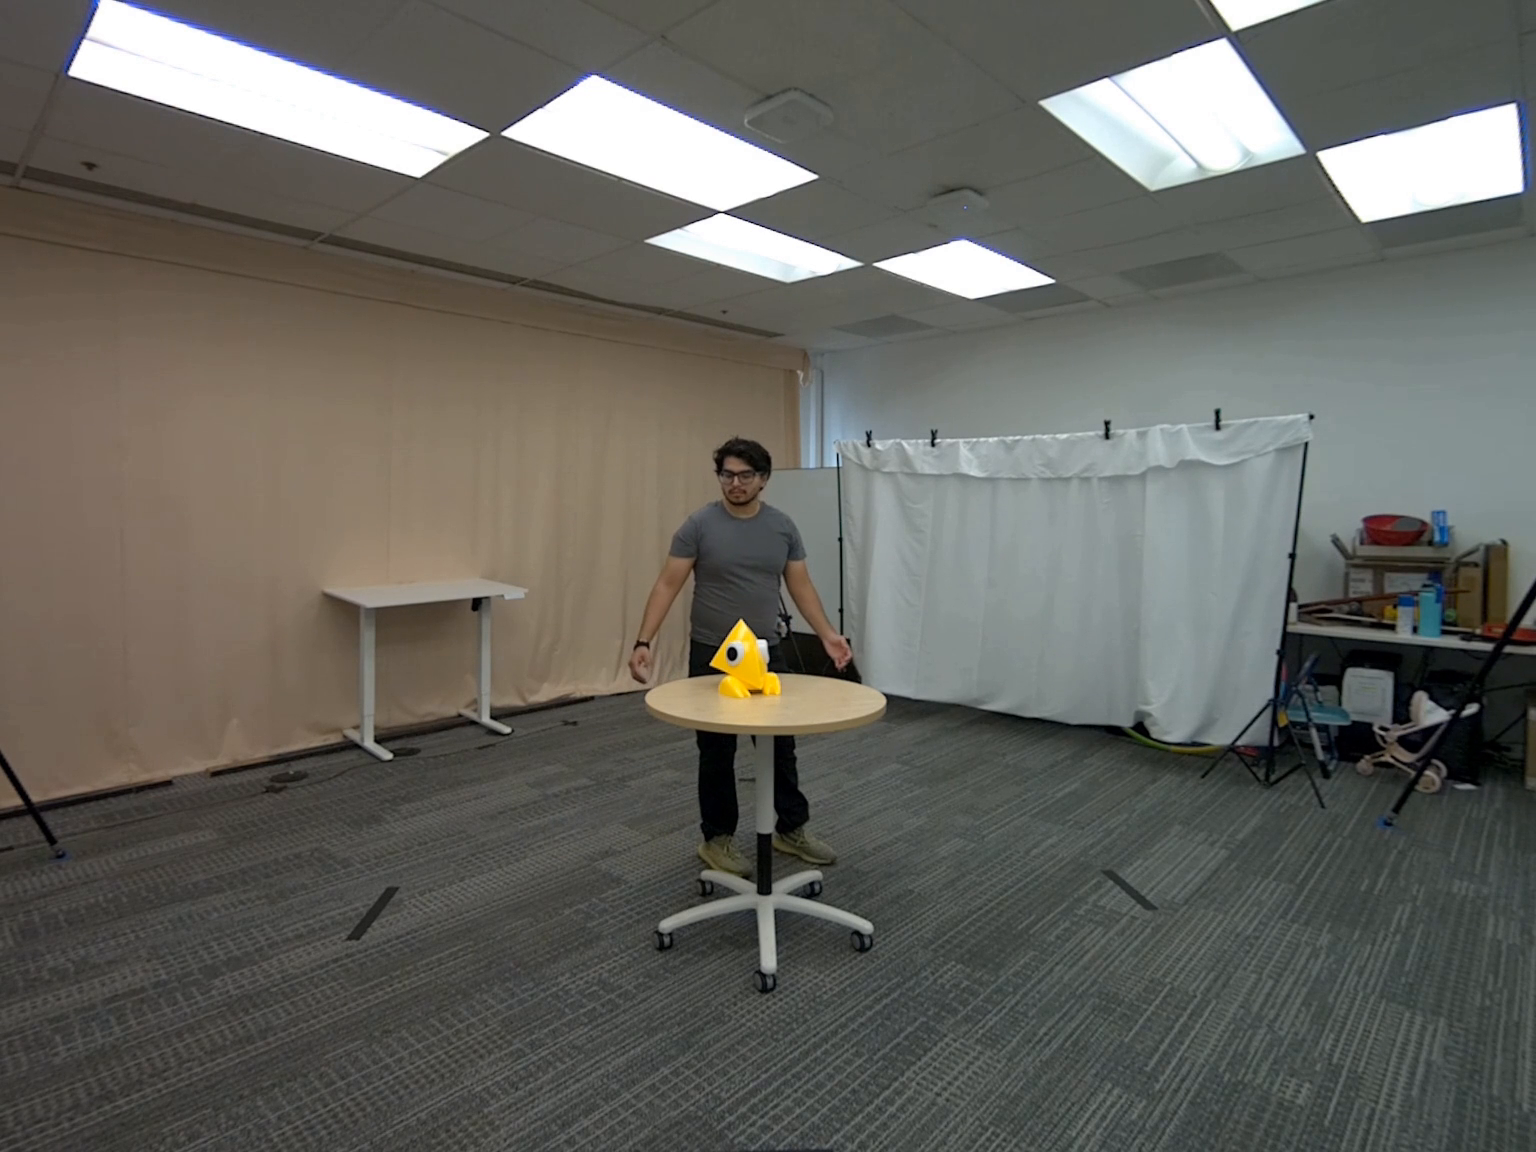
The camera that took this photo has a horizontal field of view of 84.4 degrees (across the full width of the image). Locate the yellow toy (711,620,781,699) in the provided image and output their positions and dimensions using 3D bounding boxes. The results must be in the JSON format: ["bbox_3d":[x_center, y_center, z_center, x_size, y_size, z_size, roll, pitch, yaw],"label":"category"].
[{"bbox_3d":[-0.064,0.265,2.771,0.200,0.230,0.198,-2,4,-24],"label":"yellow toy"}]
